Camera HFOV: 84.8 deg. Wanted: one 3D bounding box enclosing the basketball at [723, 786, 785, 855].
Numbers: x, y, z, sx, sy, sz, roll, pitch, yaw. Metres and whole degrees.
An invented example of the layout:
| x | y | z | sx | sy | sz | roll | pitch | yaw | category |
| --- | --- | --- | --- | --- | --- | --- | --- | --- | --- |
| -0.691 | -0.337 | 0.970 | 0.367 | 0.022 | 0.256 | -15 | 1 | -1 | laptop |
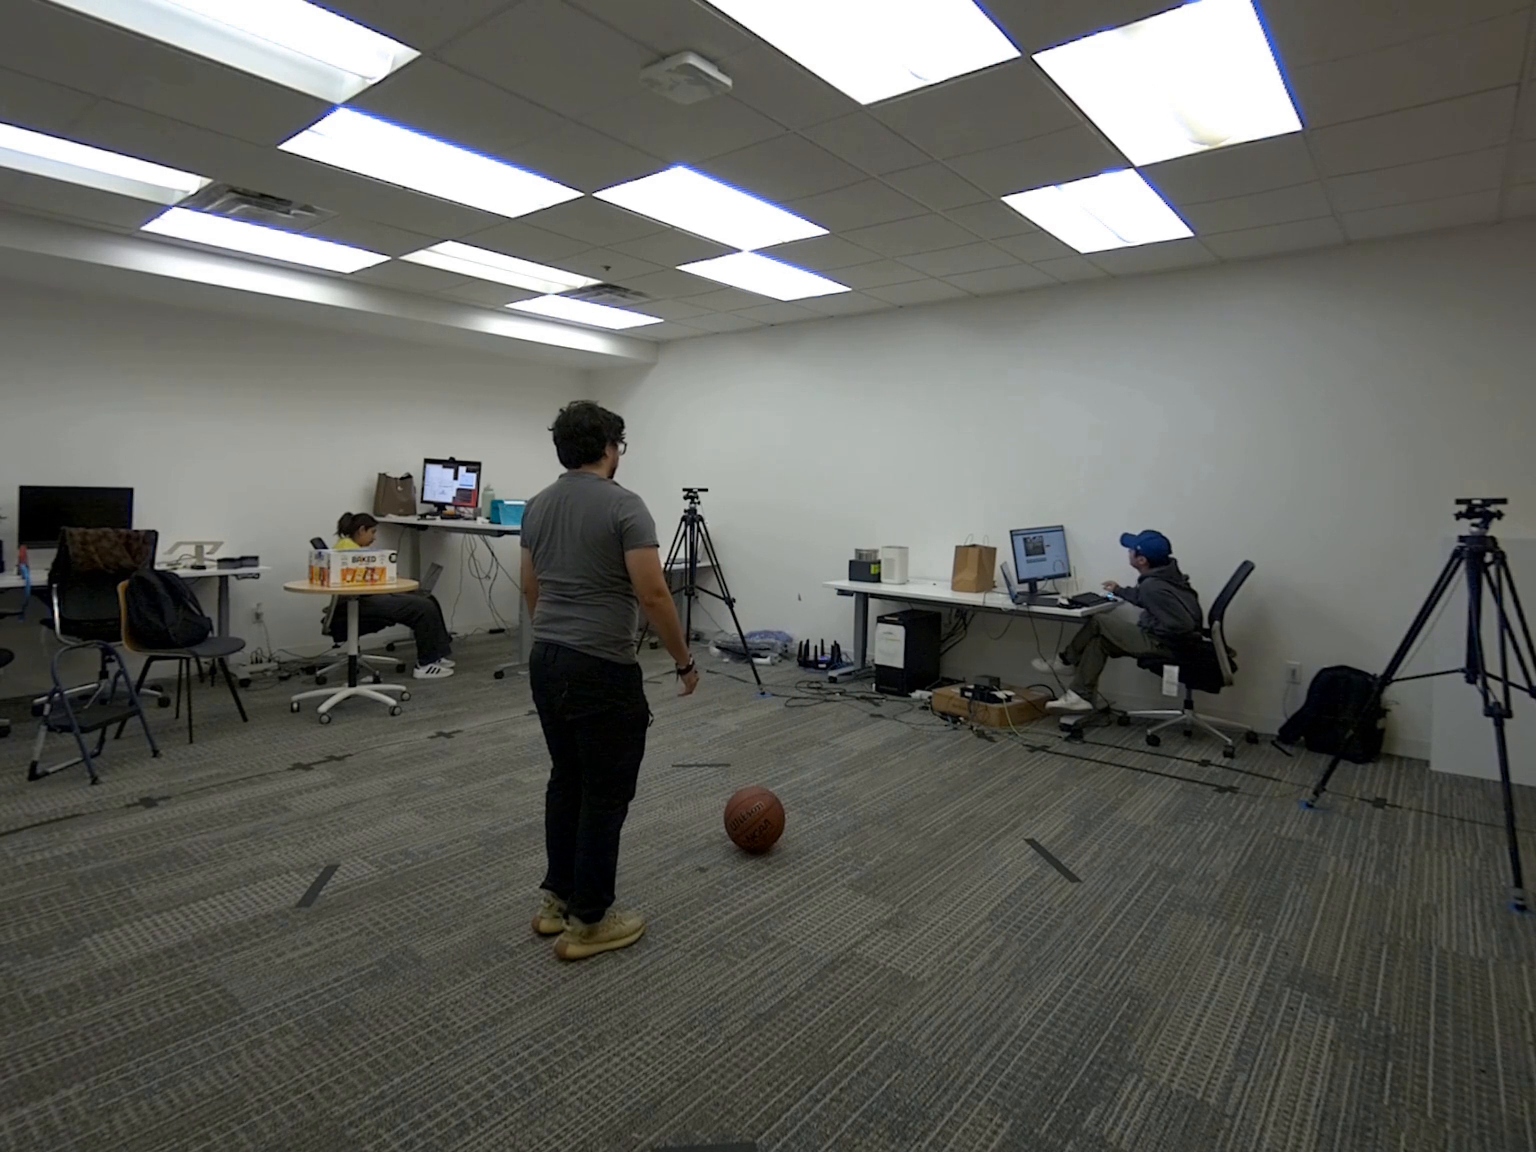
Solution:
| x | y | z | sx | sy | sz | roll | pitch | yaw | category |
| --- | --- | --- | --- | --- | --- | --- | --- | --- | --- |
| -0.062 | 0.931 | 3.289 | 0.235 | 0.235 | 0.237 | 1 | 4 | -2 | basketball |
